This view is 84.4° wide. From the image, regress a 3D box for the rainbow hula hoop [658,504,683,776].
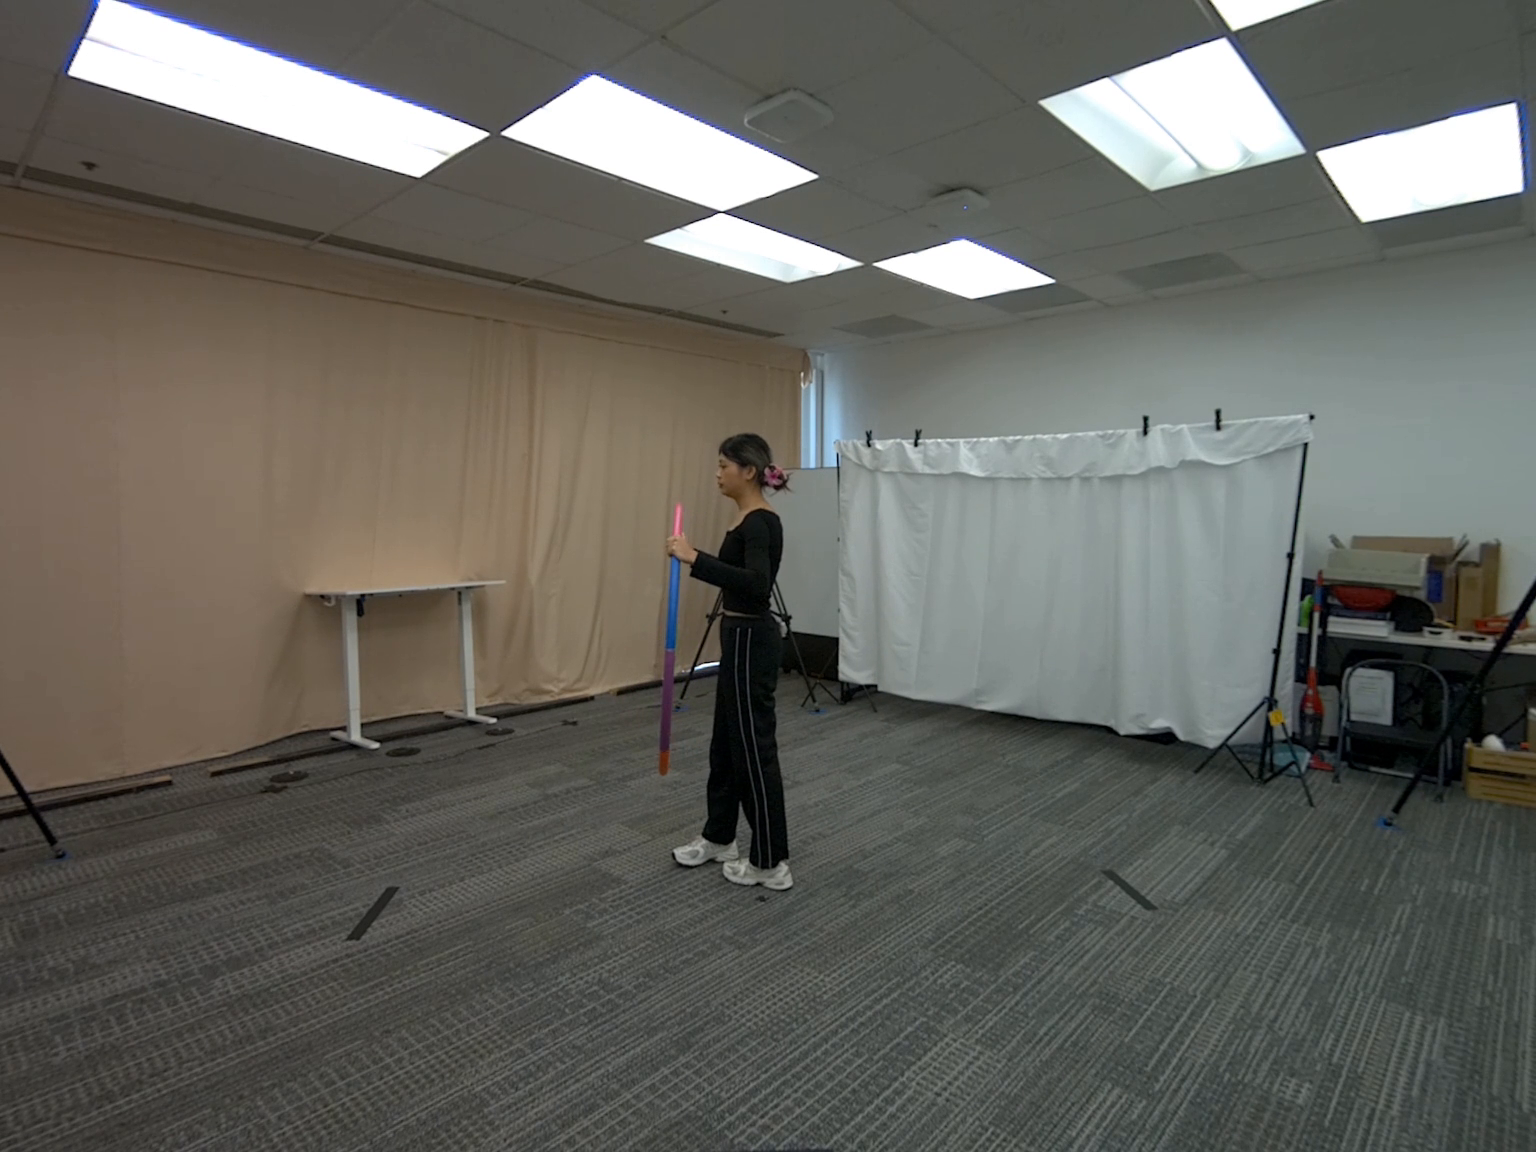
[{"bbox_3d":[-0.355,0.225,3.129,0.035,0.977,0.984,3,4,-5],"label":"rainbow hula hoop"}]
